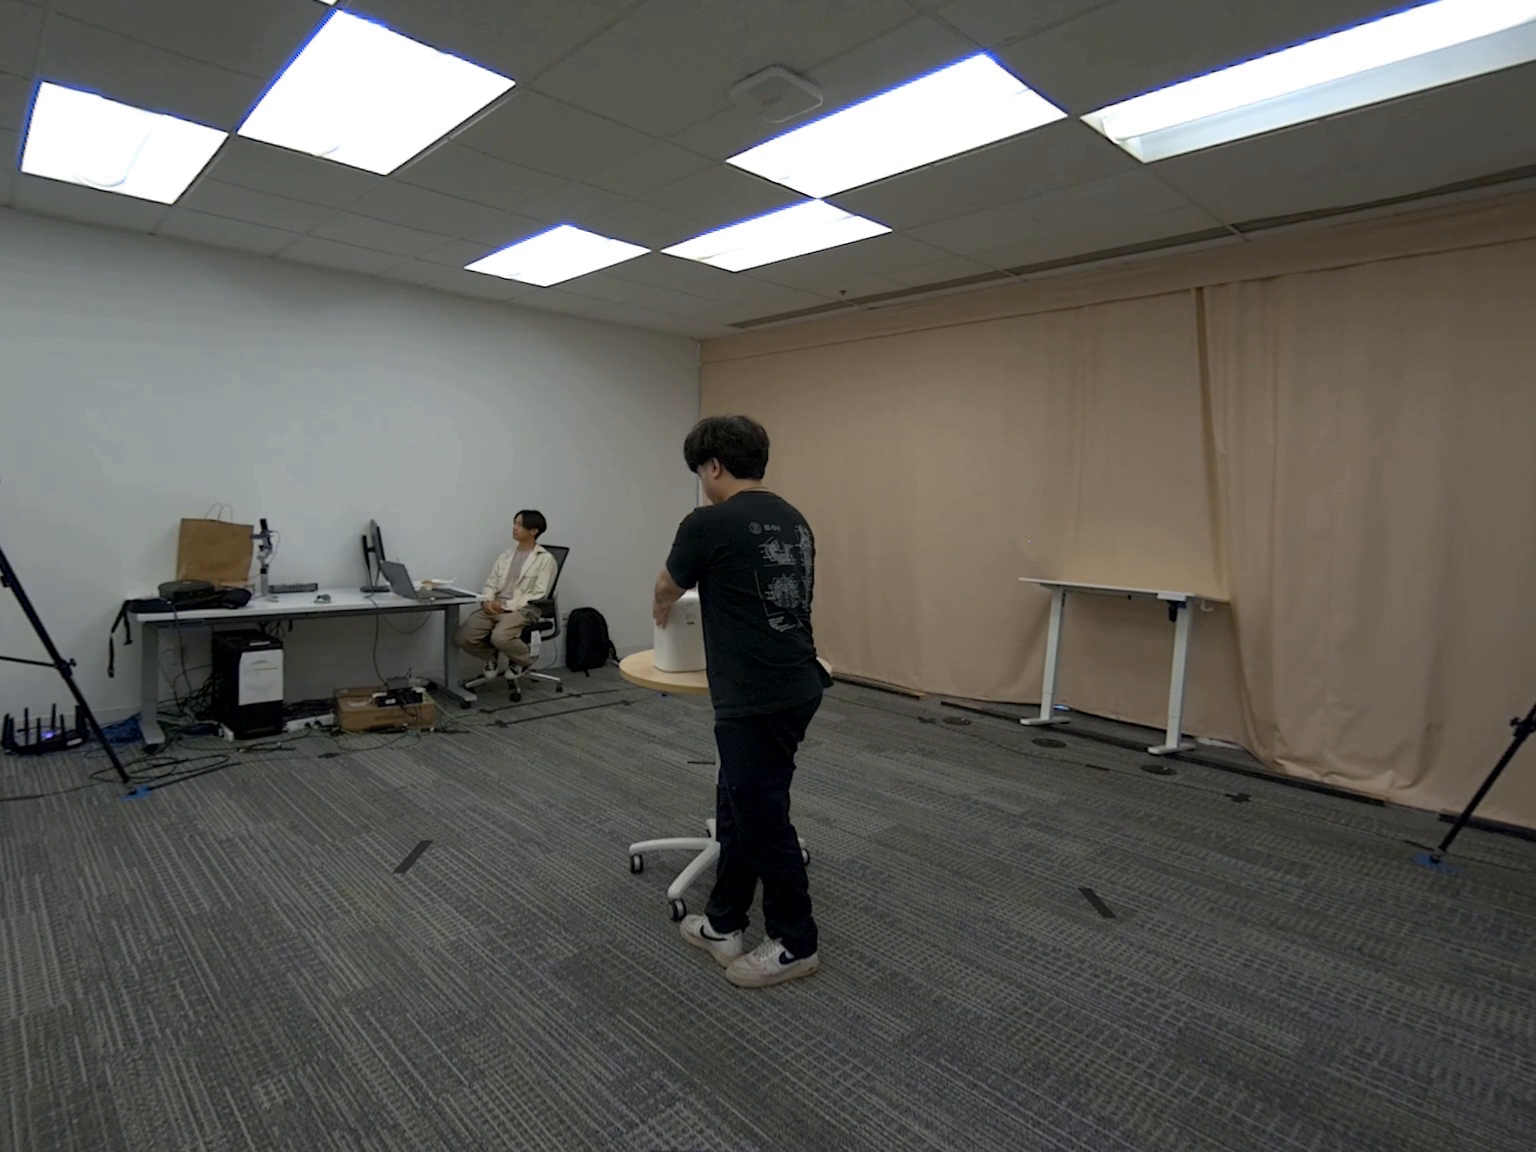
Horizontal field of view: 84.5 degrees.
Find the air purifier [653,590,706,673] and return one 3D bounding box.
[{"bbox_3d":[-0.312,0.192,2.965,0.168,0.264,0.175,-1,5,-28],"label":"air purifier"}]
